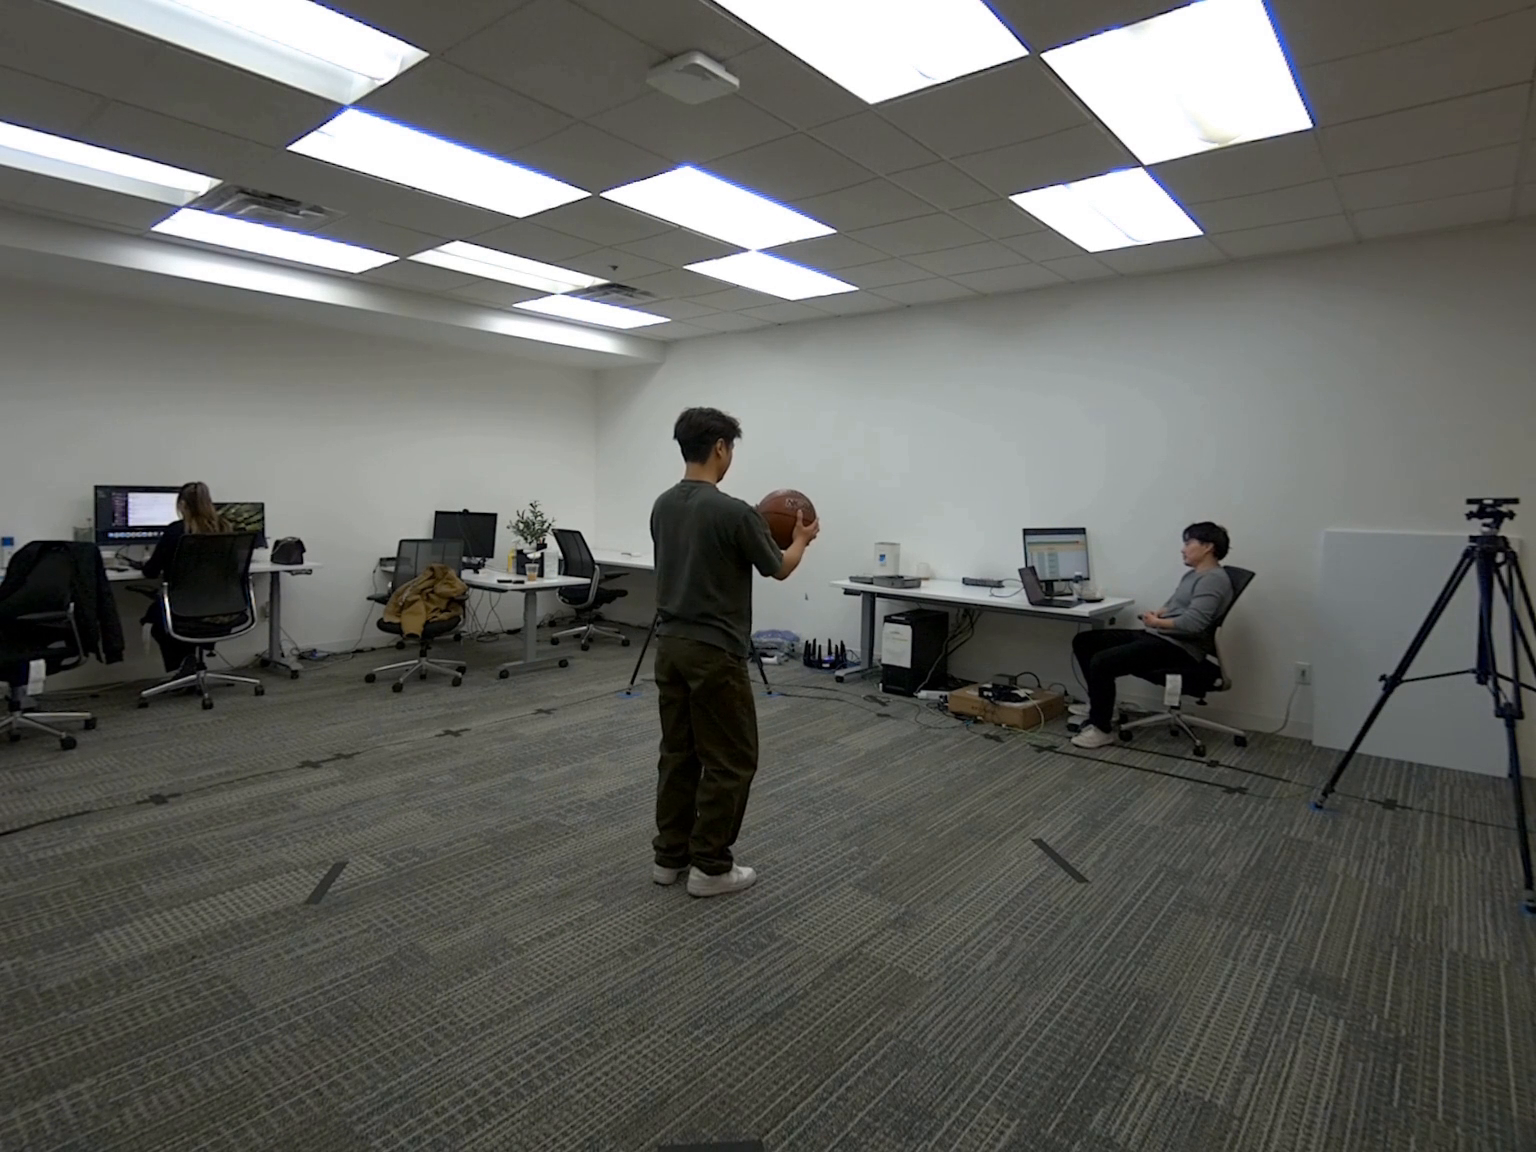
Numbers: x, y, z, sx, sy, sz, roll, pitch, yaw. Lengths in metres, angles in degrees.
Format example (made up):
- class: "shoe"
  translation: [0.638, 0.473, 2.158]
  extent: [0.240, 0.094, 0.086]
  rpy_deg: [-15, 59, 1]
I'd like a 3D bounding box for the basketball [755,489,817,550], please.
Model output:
- class: "basketball"
  translation: [0.056, -0.213, 3.290]
  extent: [0.235, 0.235, 0.237]
  rpy_deg: [1, 4, -2]
